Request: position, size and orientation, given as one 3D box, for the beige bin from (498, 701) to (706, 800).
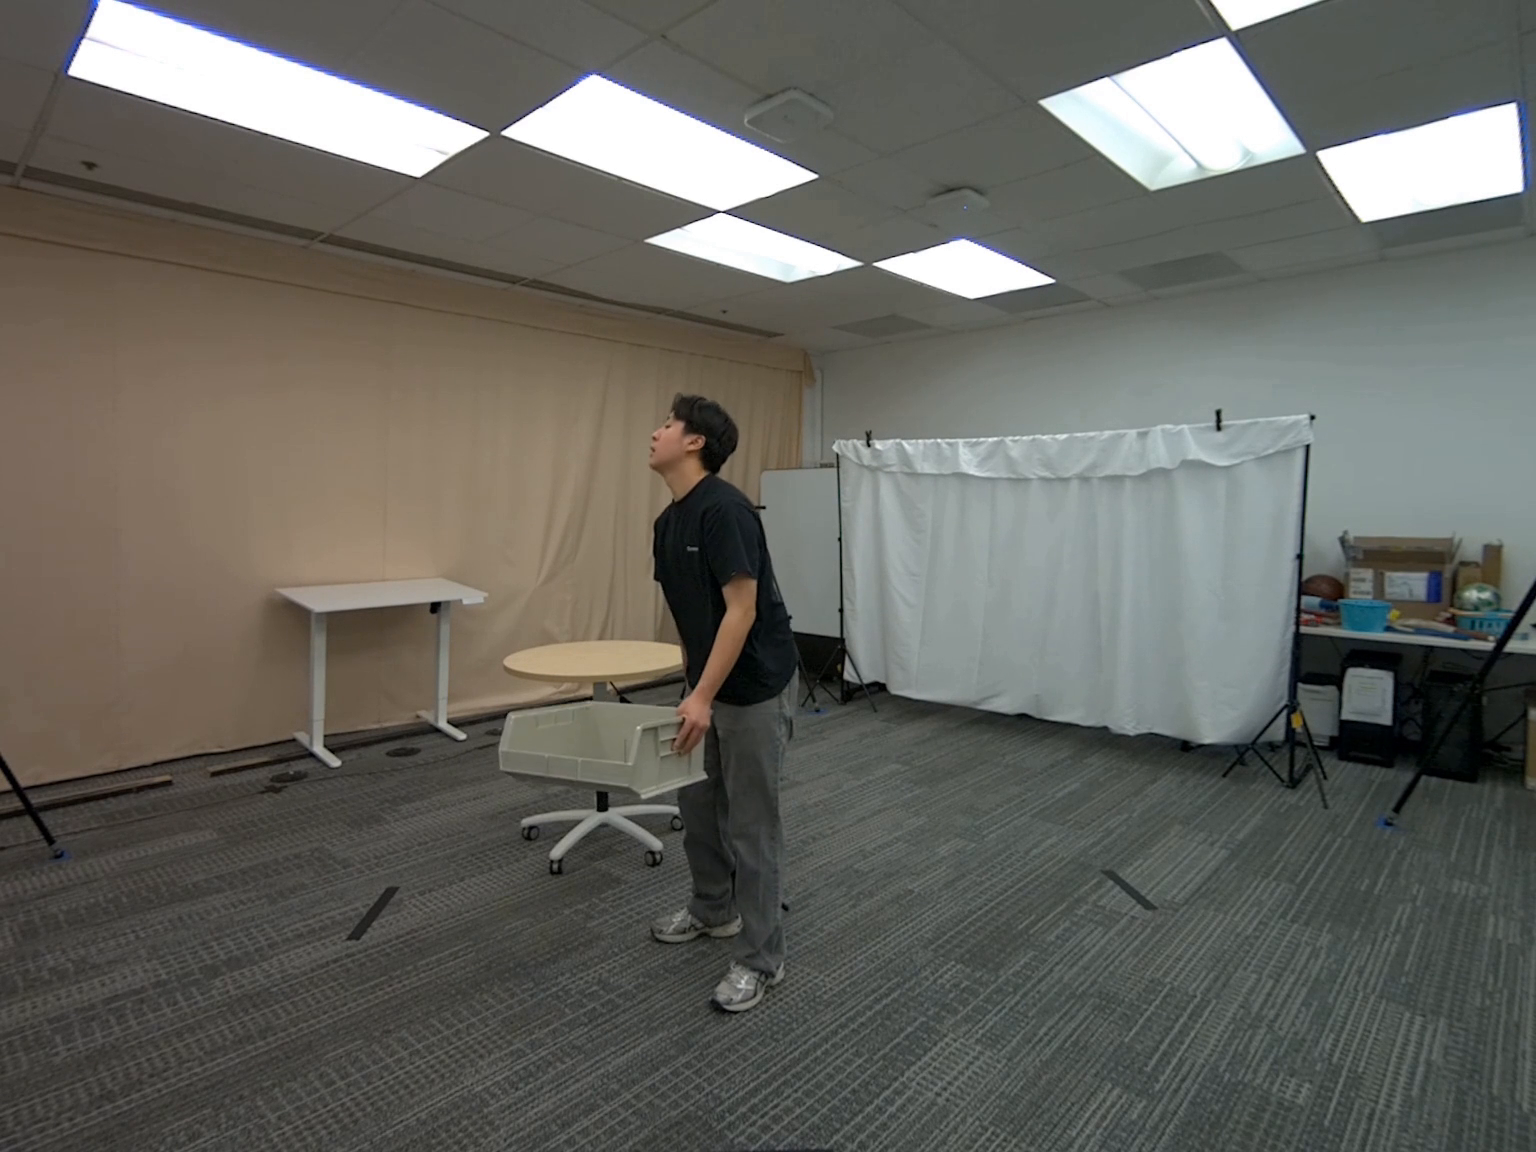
[{"bbox_3d":[-0.421,0.465,2.218,0.433,0.189,0.366,-1,-4,28],"label":"beige bin"}]
